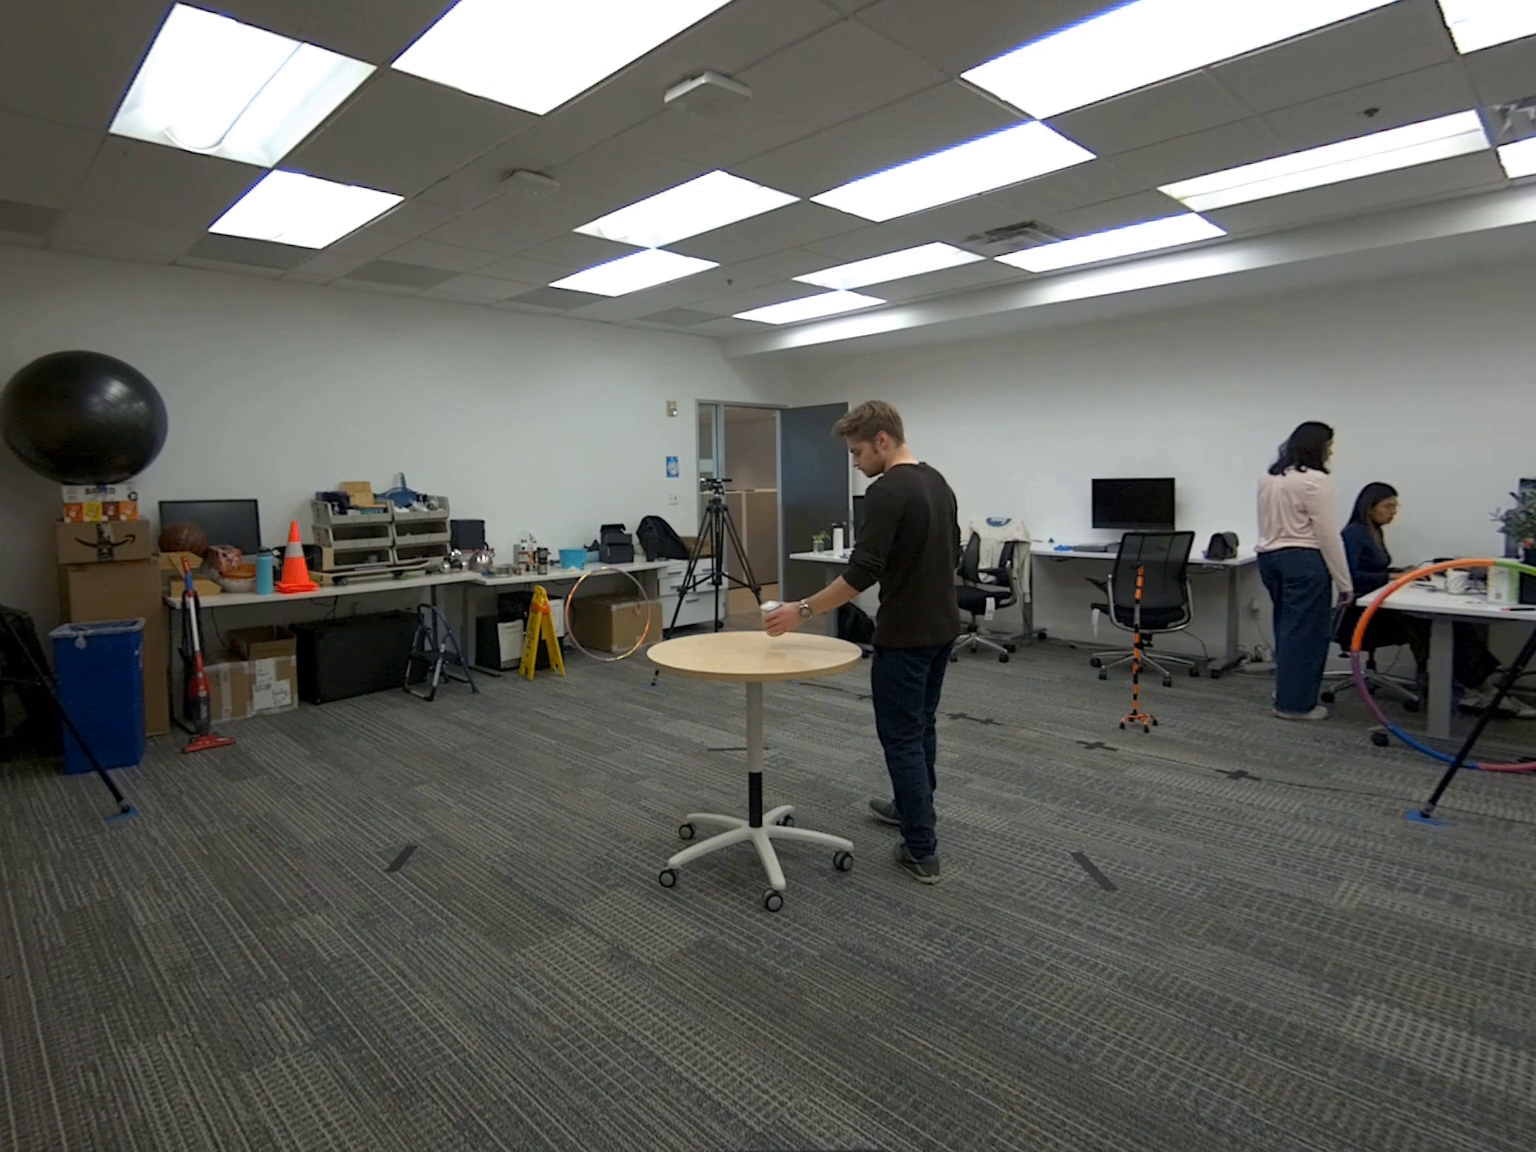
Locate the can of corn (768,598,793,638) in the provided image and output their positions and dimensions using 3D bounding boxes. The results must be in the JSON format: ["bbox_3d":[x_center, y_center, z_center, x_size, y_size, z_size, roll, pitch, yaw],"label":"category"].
[{"bbox_3d":[0.042,0.149,3.097,0.074,0.109,0.075,-5,19,0],"label":"can of corn"}]
